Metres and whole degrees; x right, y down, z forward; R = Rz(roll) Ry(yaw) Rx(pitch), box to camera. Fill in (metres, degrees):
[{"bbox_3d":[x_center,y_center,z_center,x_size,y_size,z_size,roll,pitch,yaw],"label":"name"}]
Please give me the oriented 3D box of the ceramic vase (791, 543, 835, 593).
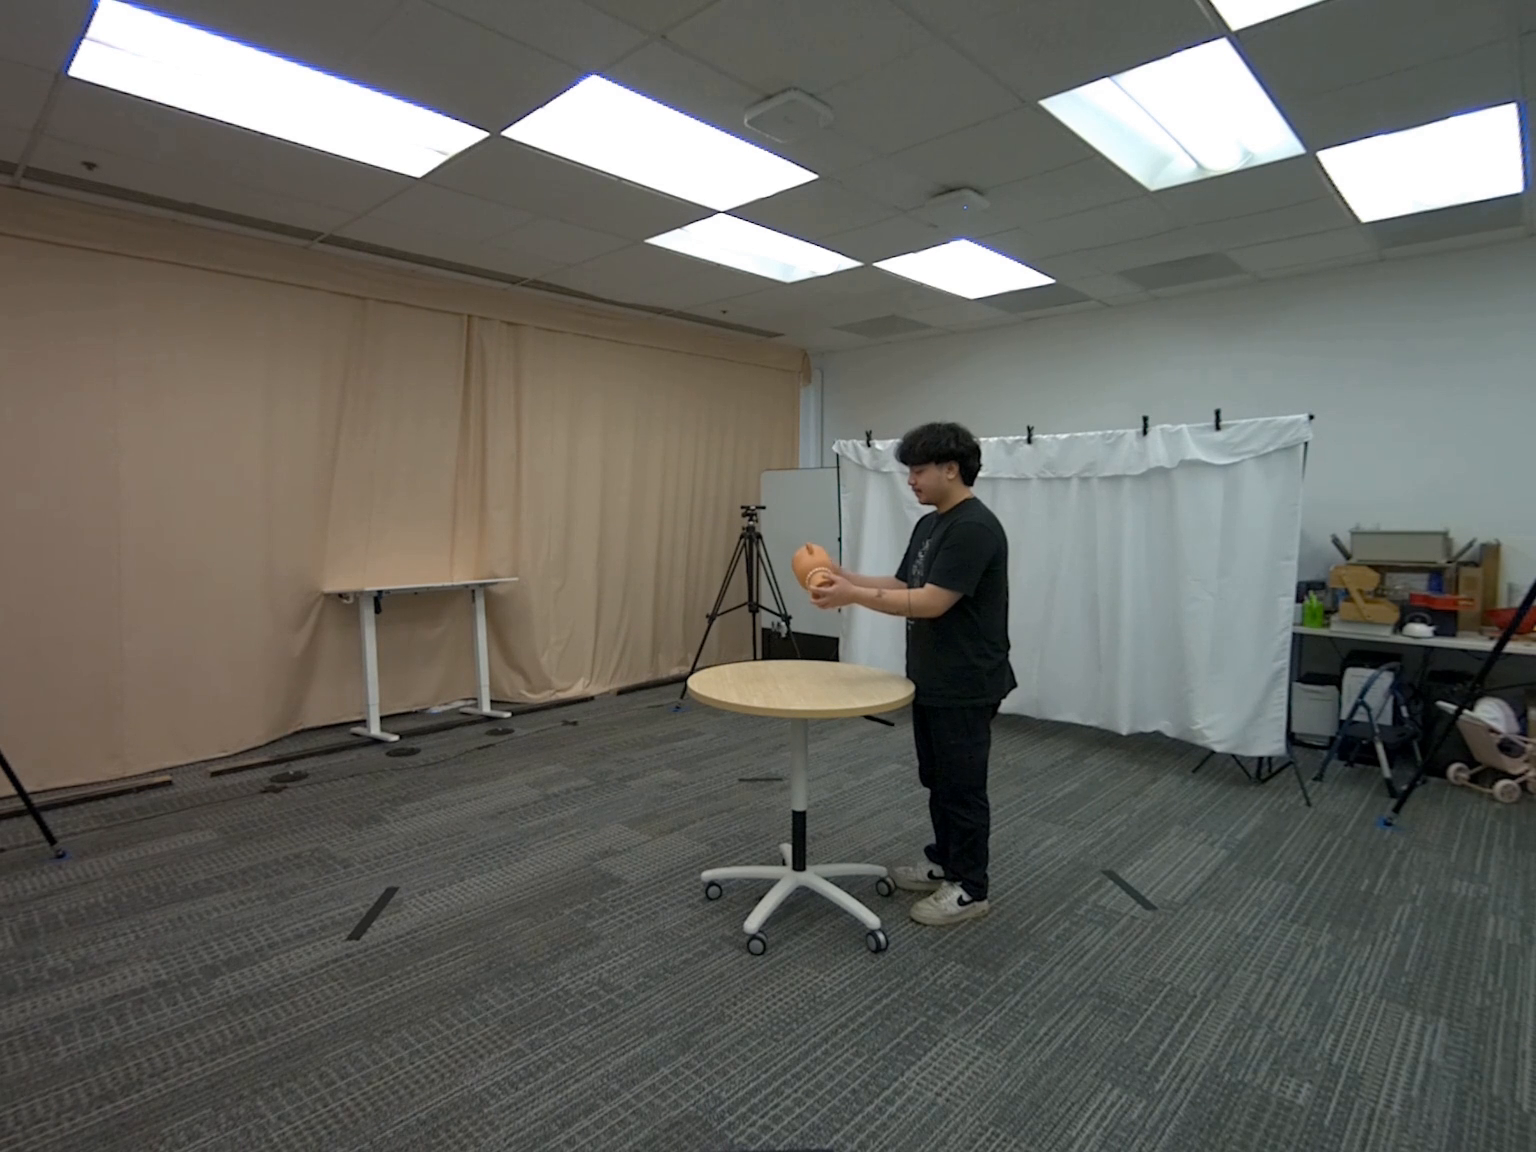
[{"bbox_3d":[0.174,-0.001,2.870,0.155,0.135,0.225,31,19,-24],"label":"ceramic vase"}]
